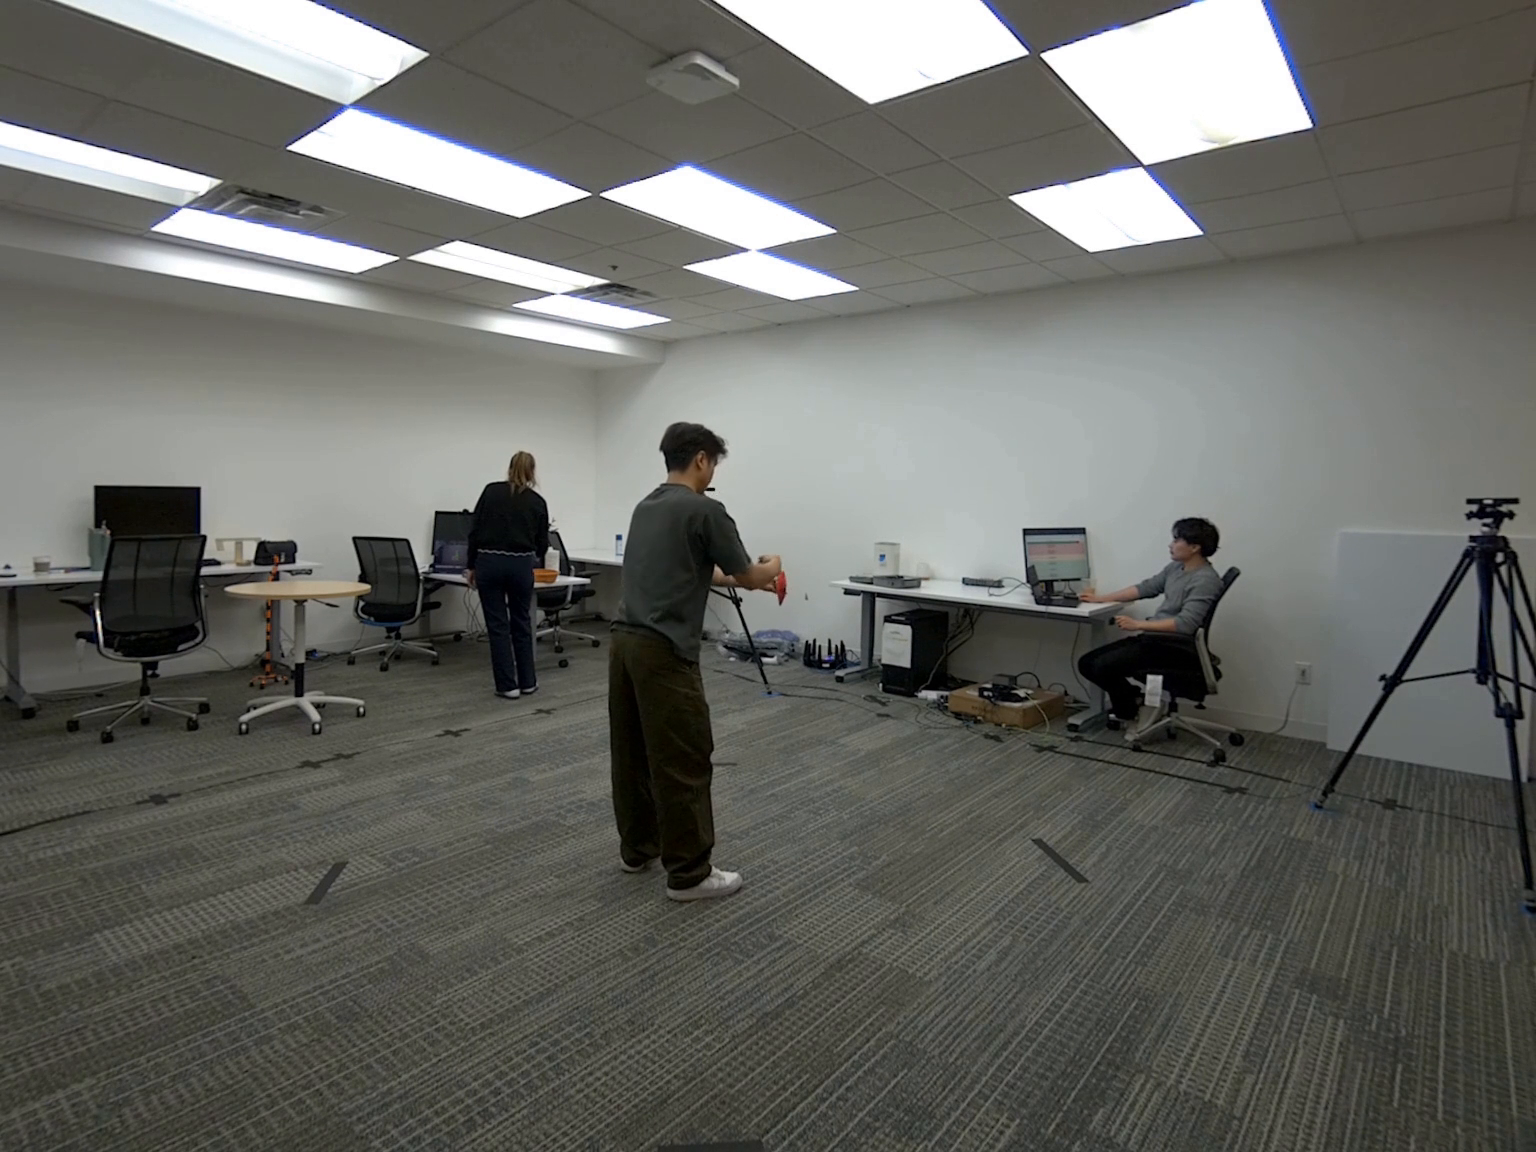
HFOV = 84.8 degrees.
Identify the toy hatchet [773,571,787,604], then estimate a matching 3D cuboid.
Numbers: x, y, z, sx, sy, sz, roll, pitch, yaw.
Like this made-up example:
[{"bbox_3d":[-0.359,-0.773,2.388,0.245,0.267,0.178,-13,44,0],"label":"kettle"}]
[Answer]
[{"bbox_3d":[0.016,-0.009,3.353,0.029,0.128,0.279,-1,31,-12],"label":"toy hatchet"}]
